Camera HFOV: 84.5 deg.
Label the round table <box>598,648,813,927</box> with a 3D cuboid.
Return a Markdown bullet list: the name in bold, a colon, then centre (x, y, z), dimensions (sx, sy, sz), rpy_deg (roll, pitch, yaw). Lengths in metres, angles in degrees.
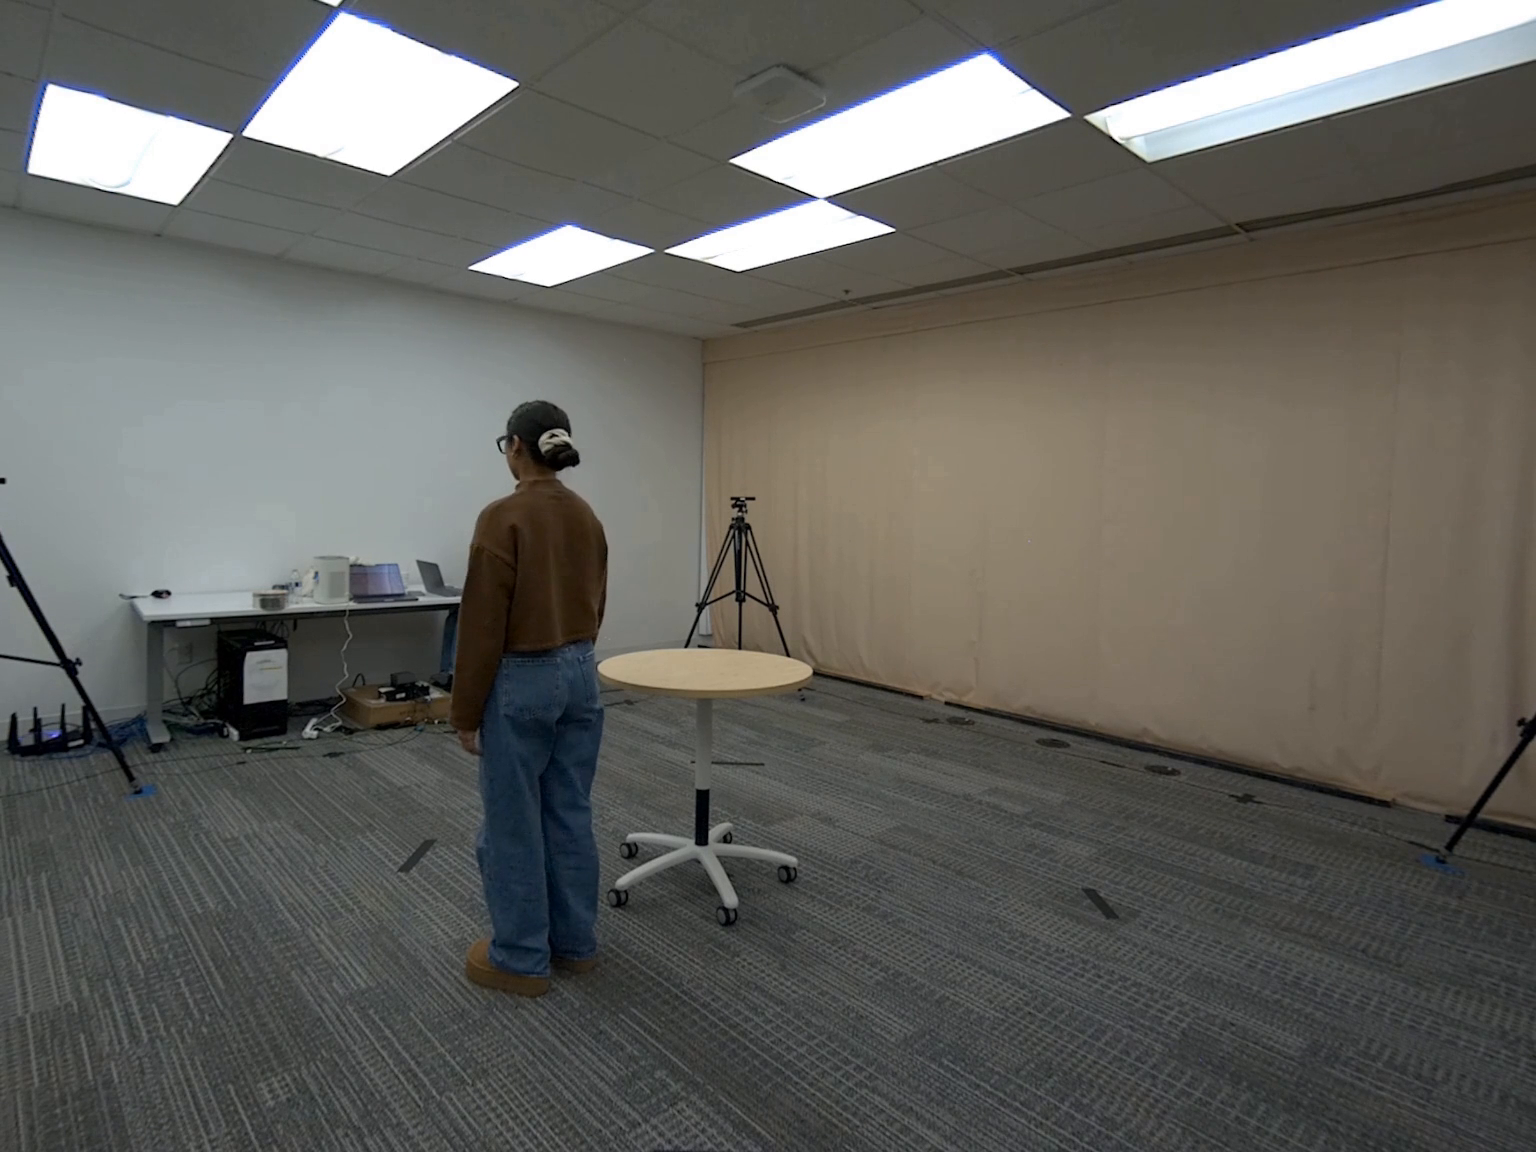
- **round table**: centre (-0.238, 0.721, 3.029), dimensions (0.763, 0.792, 0.766), rpy_deg (1, 4, -1)
